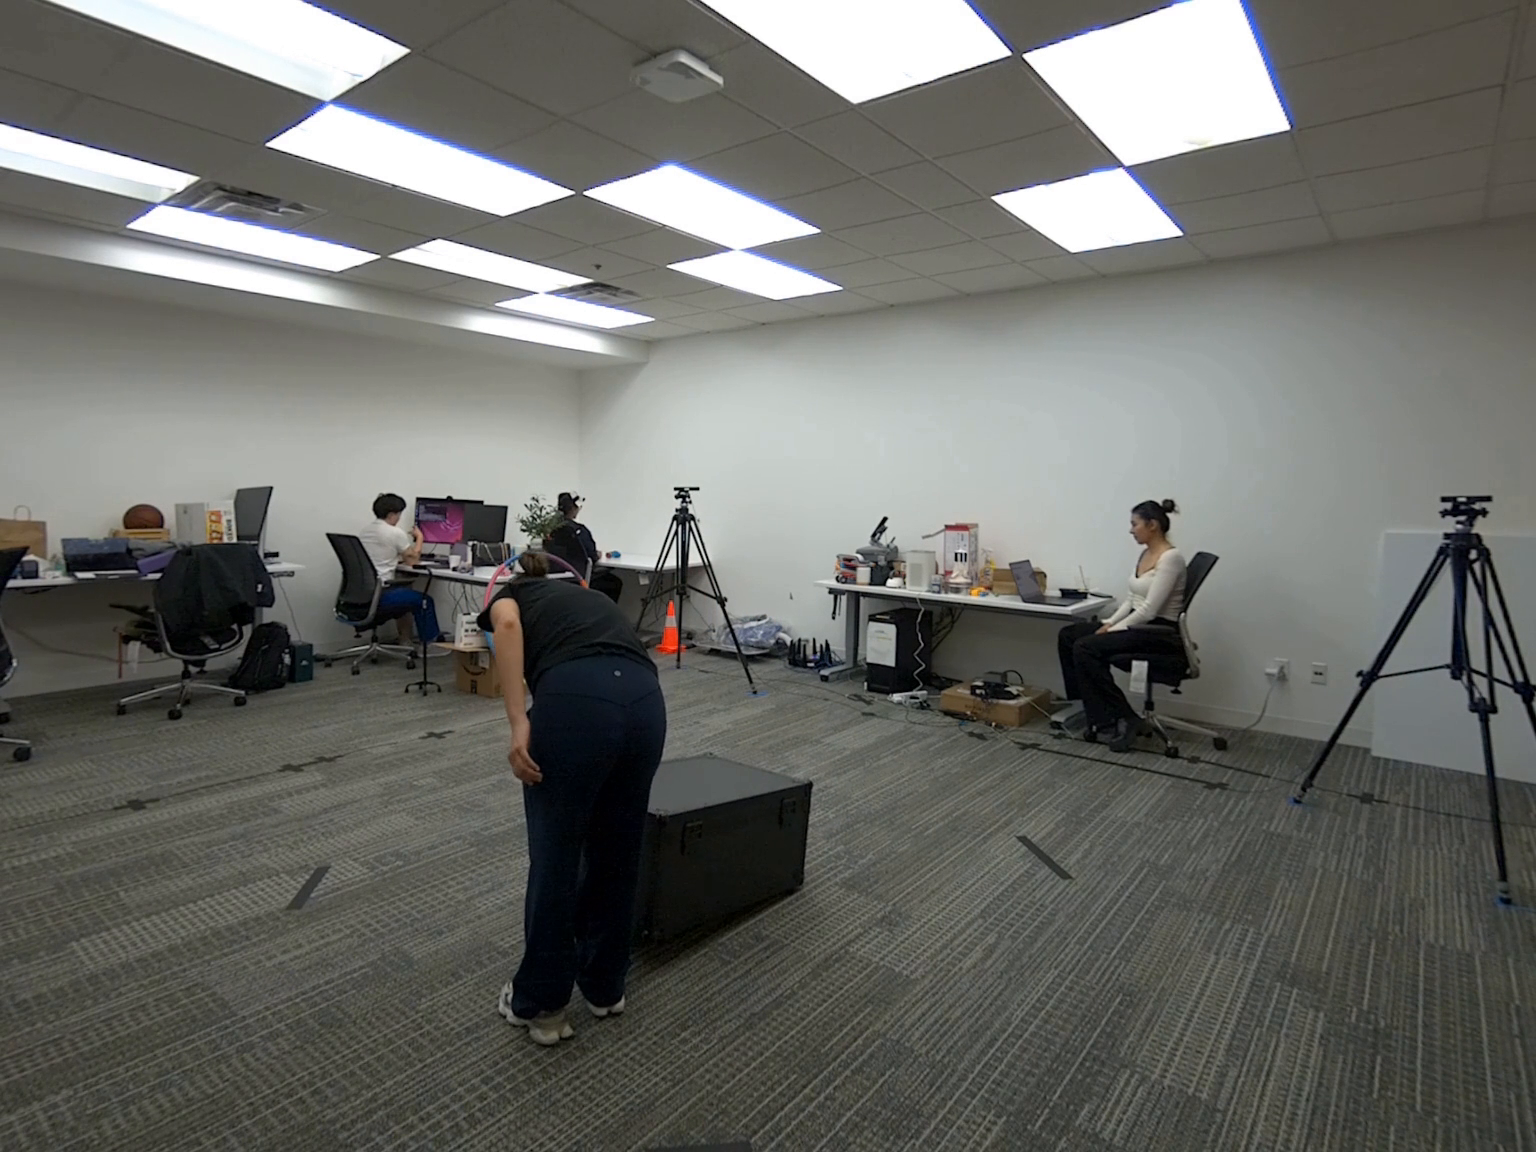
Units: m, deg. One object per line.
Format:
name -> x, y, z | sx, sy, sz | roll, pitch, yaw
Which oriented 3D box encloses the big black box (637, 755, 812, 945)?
big black box -> -0.249, 0.847, 2.872 | 0.539, 0.396, 0.832 | 5, 0, 38
